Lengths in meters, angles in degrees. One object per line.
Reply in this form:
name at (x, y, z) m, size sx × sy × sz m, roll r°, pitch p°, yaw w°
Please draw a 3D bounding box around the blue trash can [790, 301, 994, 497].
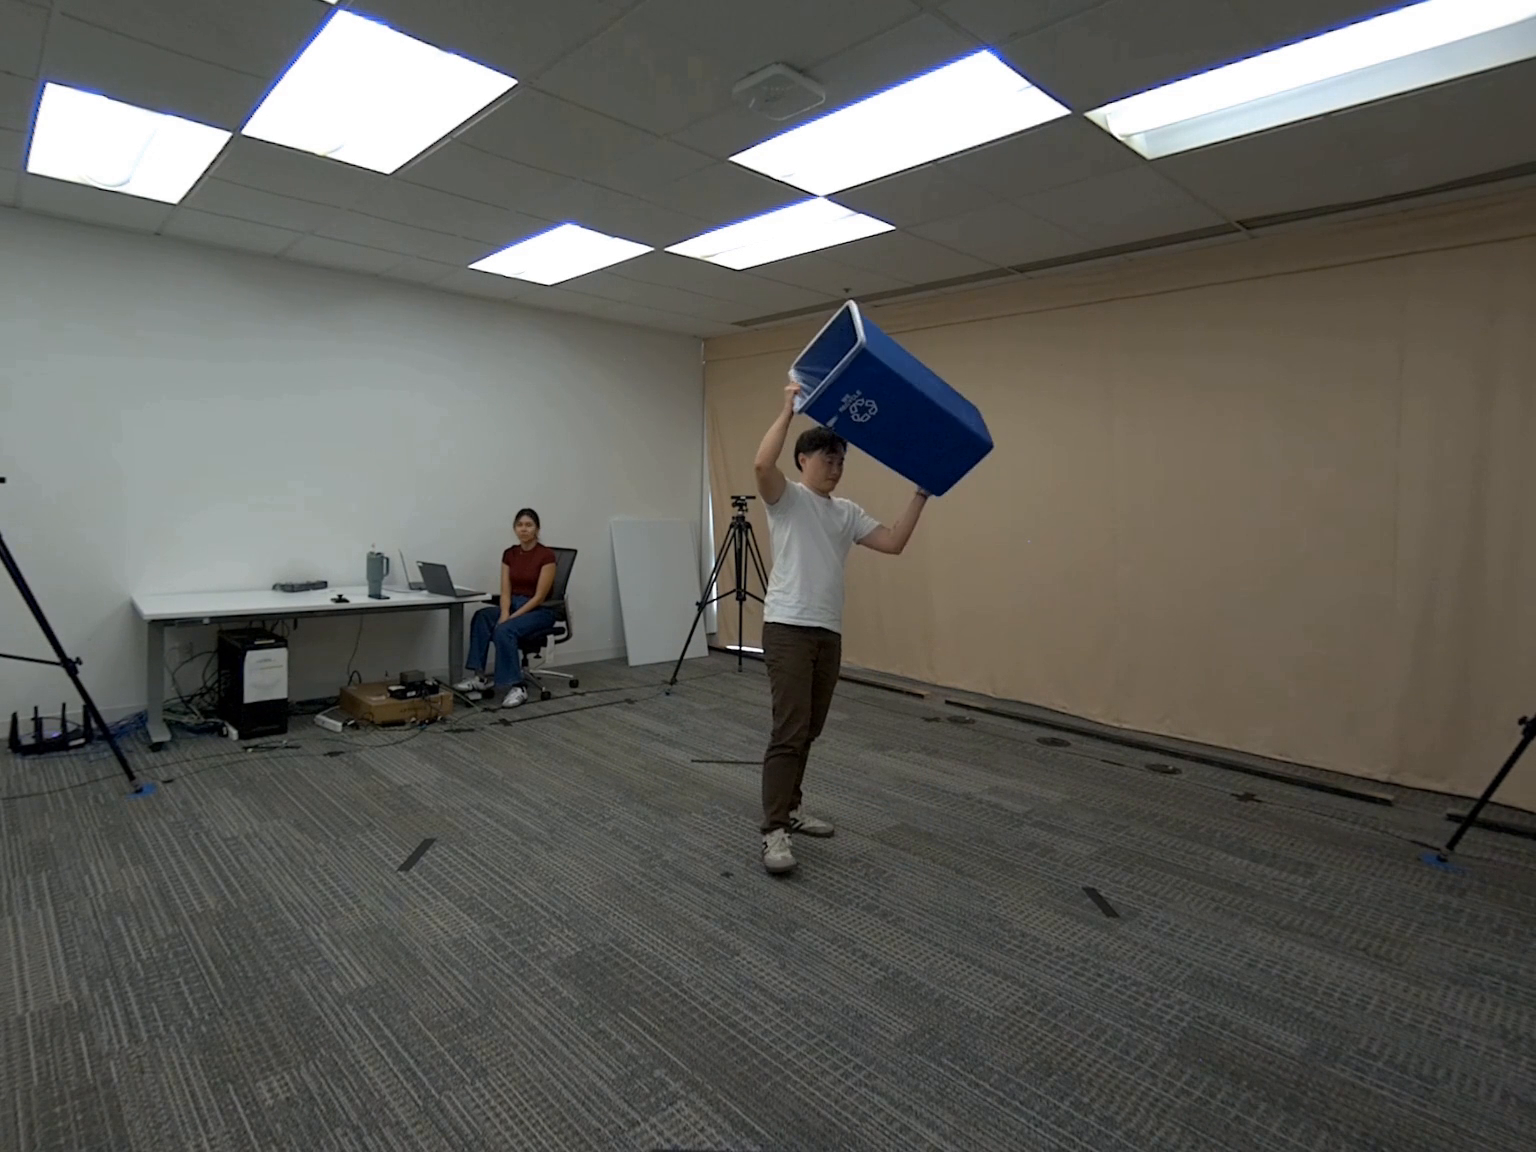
blue trash can at (0.475, -0.644, 3.217) m, size 0.699 × 0.378 × 0.382 m, roll 29°, pitch 34°, yaw -21°
